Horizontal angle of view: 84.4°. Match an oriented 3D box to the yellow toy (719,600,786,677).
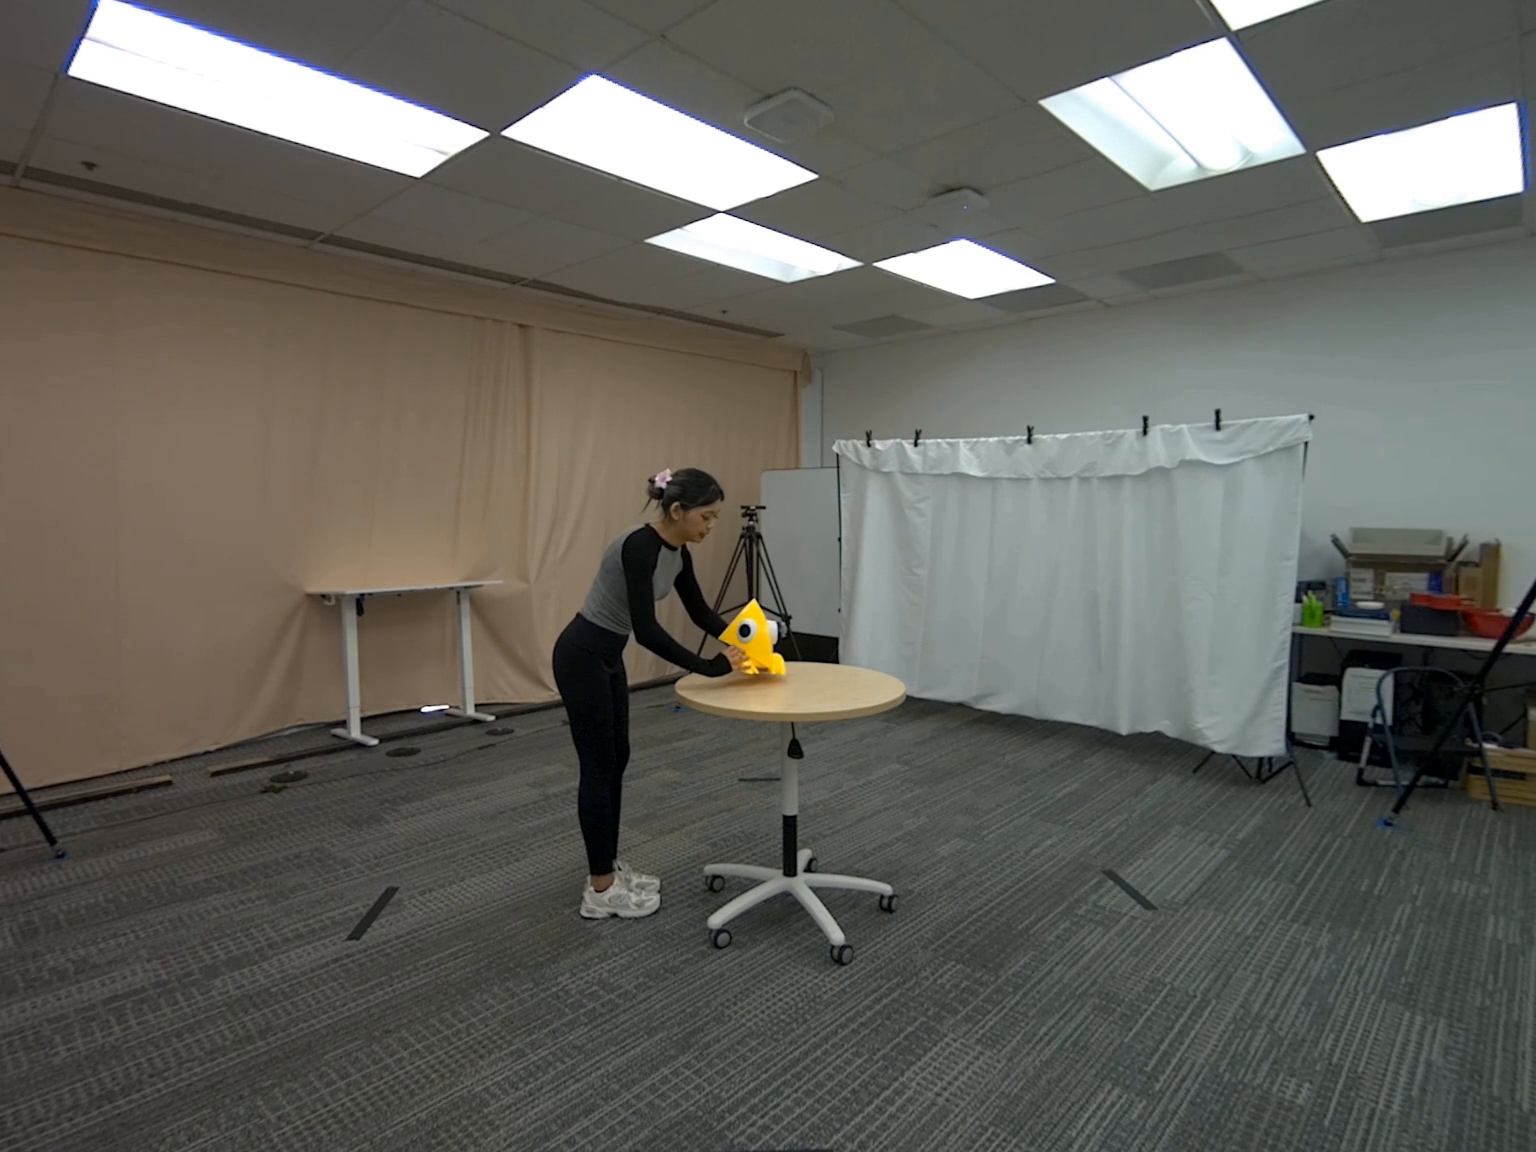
[{"bbox_3d":[-0.030,0.203,2.861,0.199,0.230,0.199,5,7,-31],"label":"yellow toy"}]
